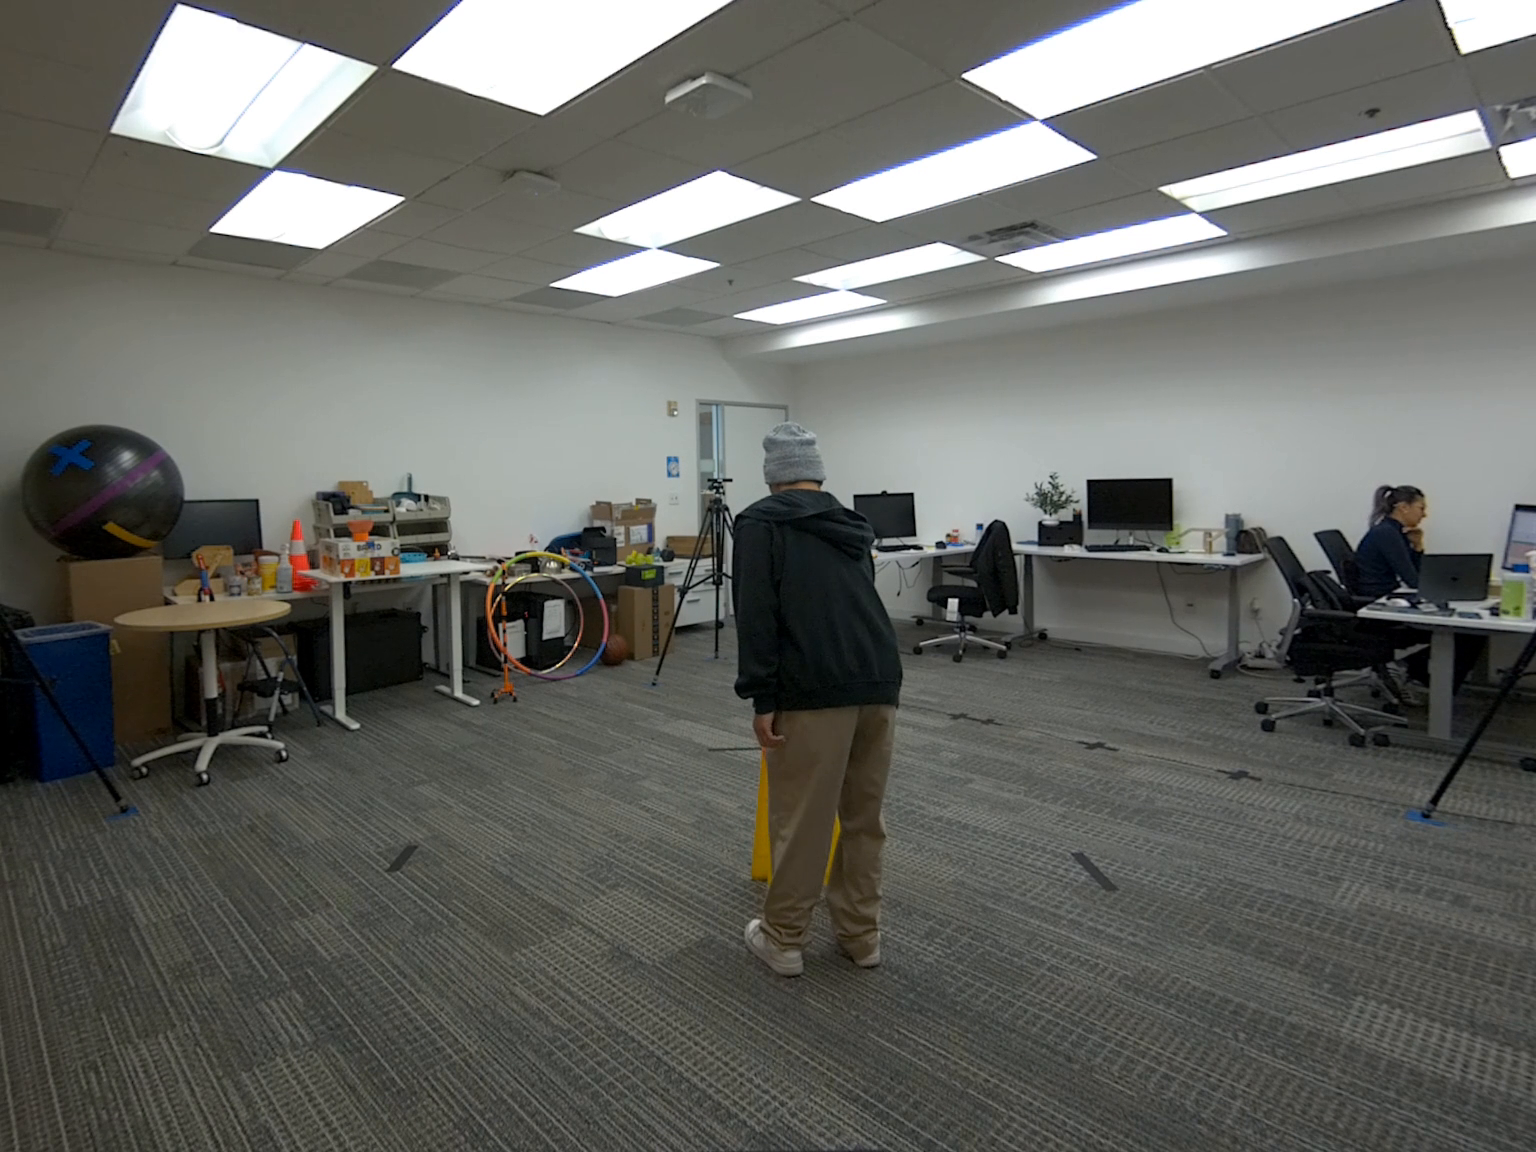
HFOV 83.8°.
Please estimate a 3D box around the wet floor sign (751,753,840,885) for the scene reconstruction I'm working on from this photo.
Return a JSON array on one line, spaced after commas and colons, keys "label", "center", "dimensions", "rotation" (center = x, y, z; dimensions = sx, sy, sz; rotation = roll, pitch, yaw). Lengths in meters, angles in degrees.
[{"label": "wet floor sign", "center": [0.114, 0.740, 2.862], "dimensions": [0.279, 0.644, 0.294], "rotation": [-4, 4, -13]}]
